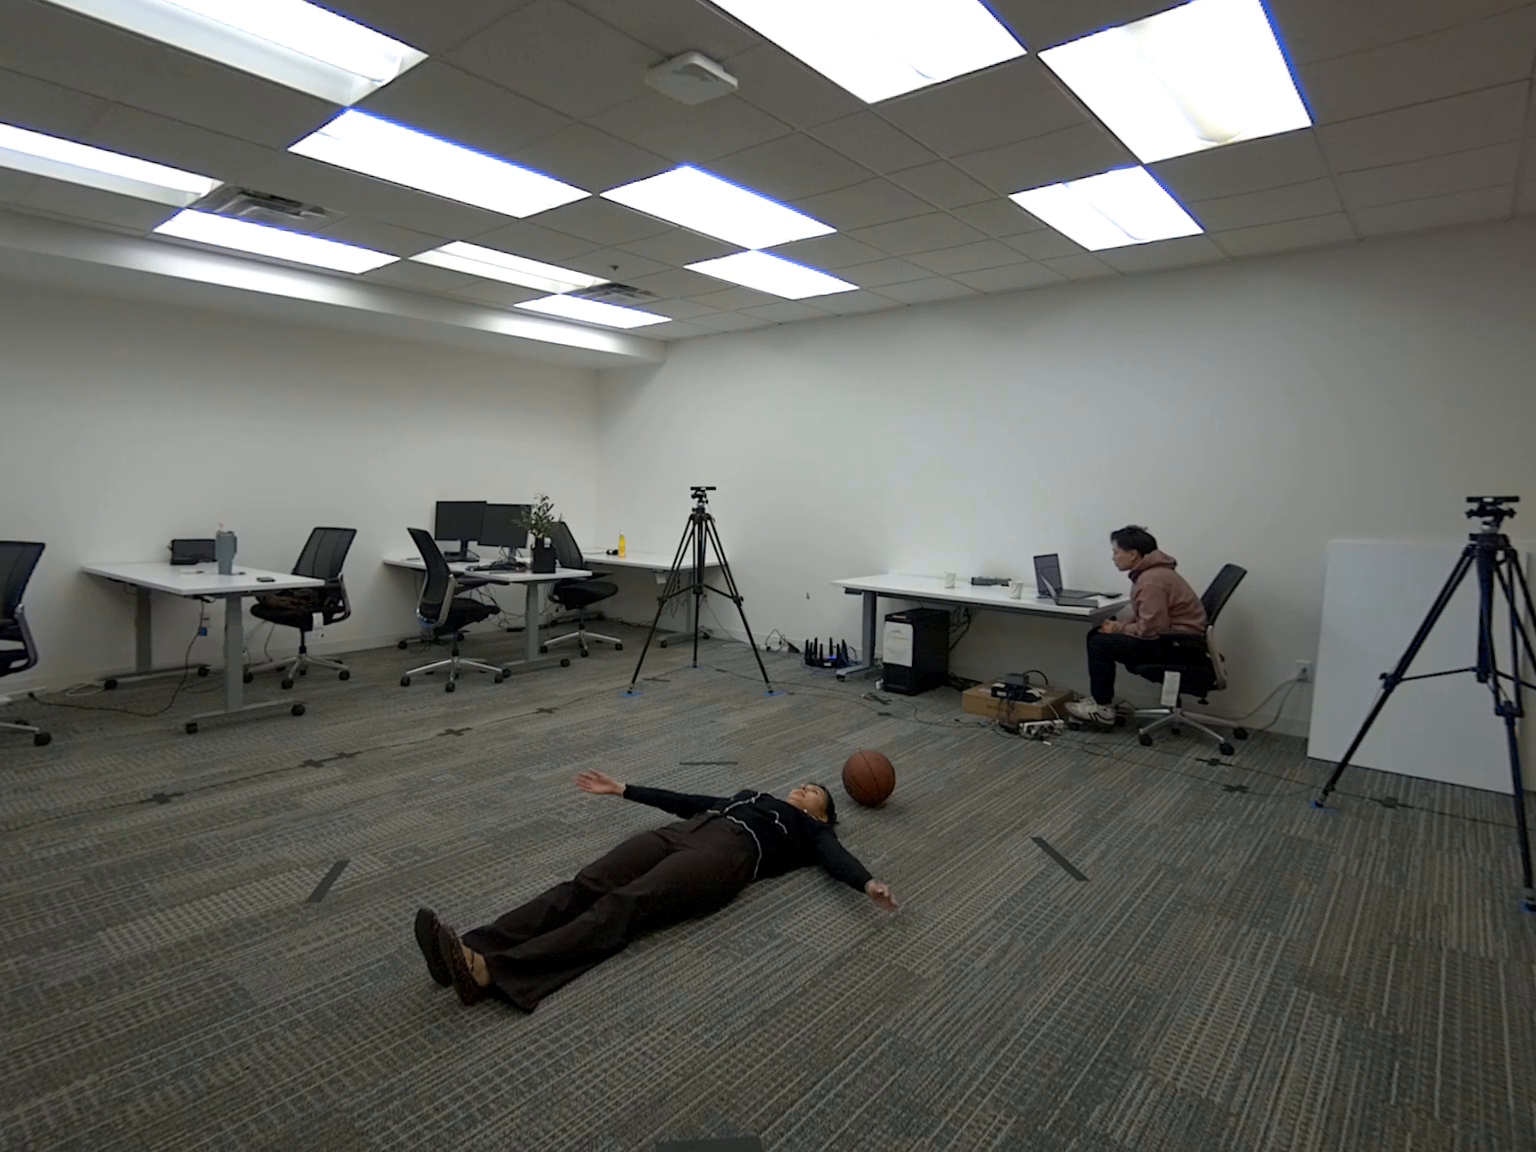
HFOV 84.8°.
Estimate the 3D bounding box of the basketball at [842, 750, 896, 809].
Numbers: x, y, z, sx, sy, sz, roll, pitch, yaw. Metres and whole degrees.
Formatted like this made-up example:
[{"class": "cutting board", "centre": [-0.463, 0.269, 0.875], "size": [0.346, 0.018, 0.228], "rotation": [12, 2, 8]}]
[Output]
[{"class": "basketball", "centre": [0.441, 0.889, 3.785], "size": [0.236, 0.235, 0.237], "rotation": [1, 4, -2]}]
